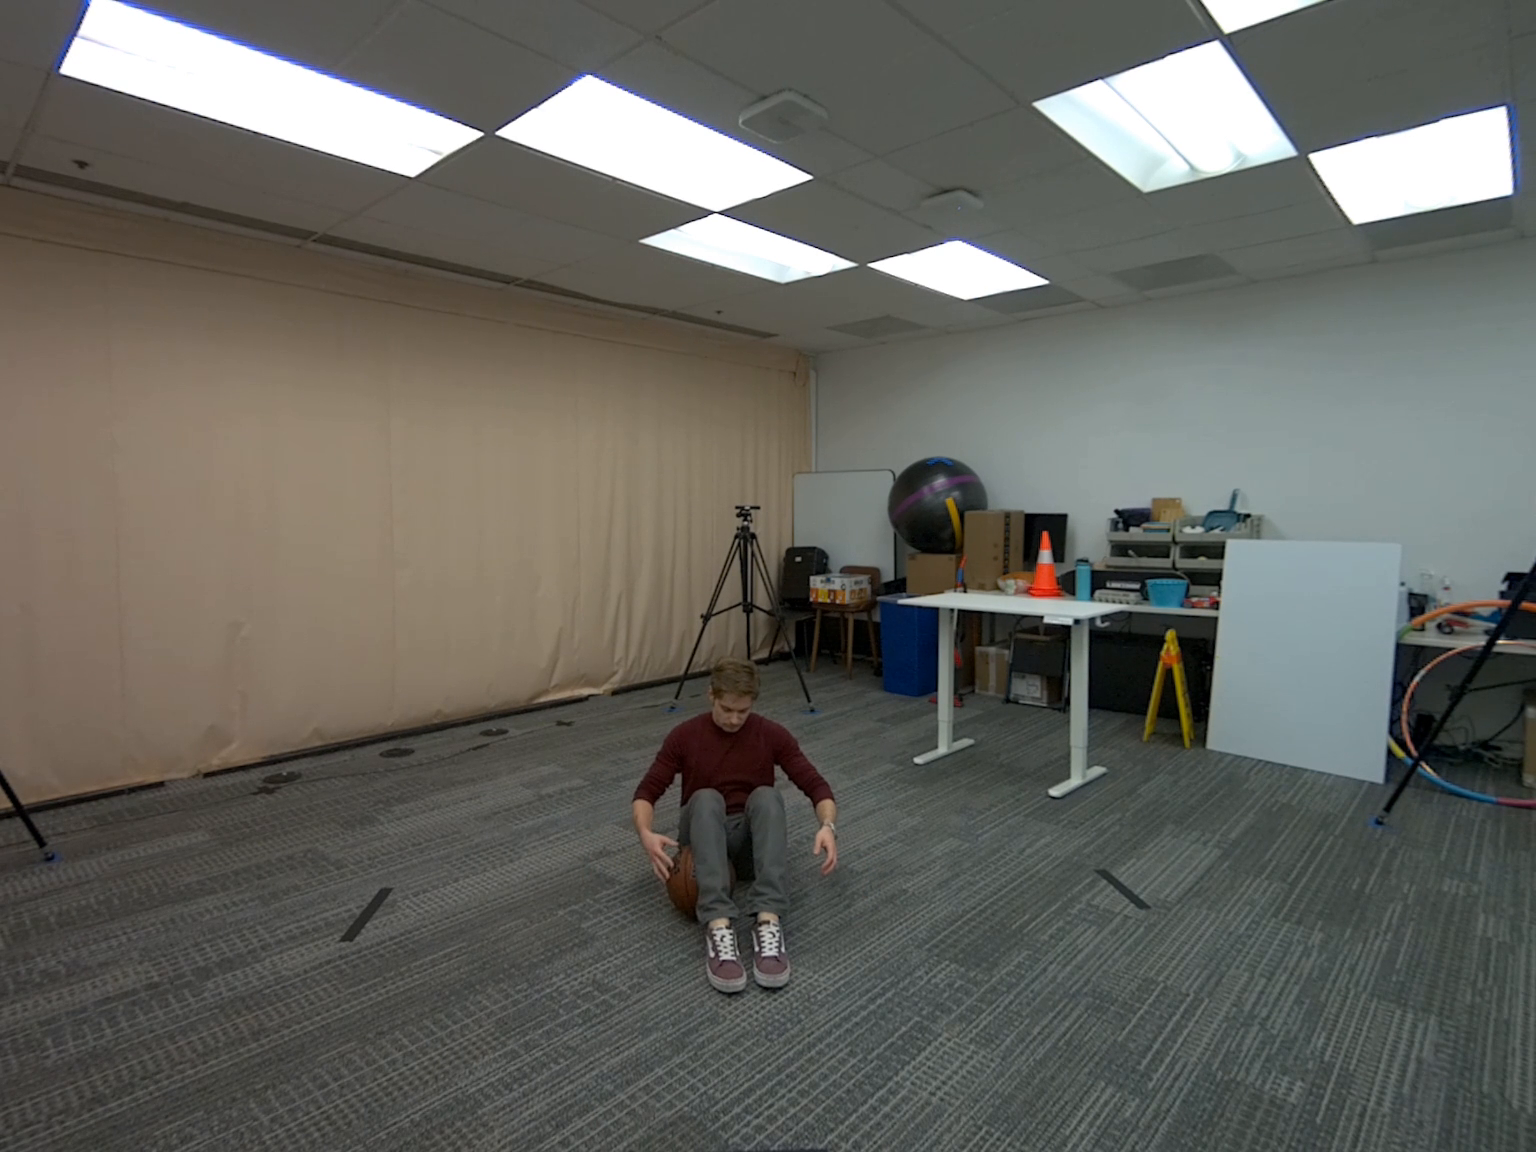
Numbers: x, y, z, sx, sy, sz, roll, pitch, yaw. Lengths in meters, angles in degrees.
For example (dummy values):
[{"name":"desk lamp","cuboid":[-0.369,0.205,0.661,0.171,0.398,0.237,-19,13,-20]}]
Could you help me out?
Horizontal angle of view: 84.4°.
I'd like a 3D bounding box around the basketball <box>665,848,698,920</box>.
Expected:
[{"name":"basketball","cuboid":[-0.232,1.032,2.875,0.236,0.235,0.237,0,4,-2]}]
